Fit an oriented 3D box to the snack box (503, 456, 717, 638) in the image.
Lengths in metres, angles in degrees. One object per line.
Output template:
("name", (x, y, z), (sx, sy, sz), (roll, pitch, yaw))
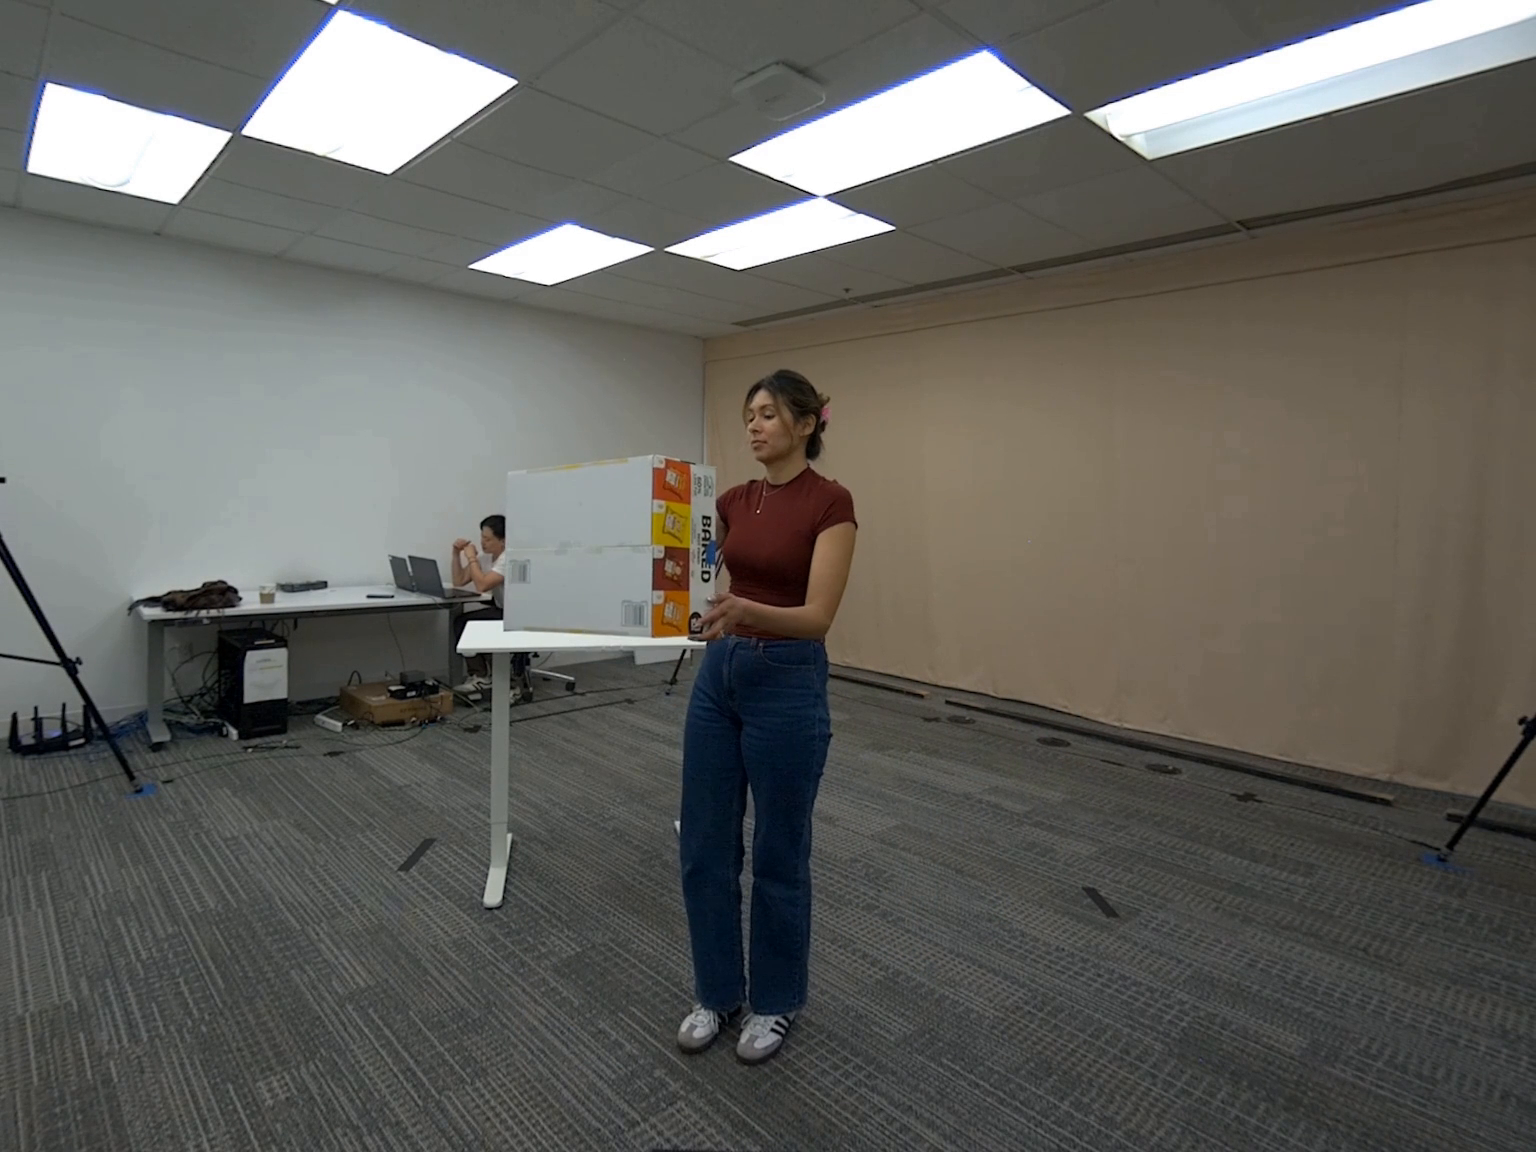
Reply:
("snack box", (-0.337, -0.048, 1.723), (0.414, 0.341, 0.201), (-1, -5, 33))
